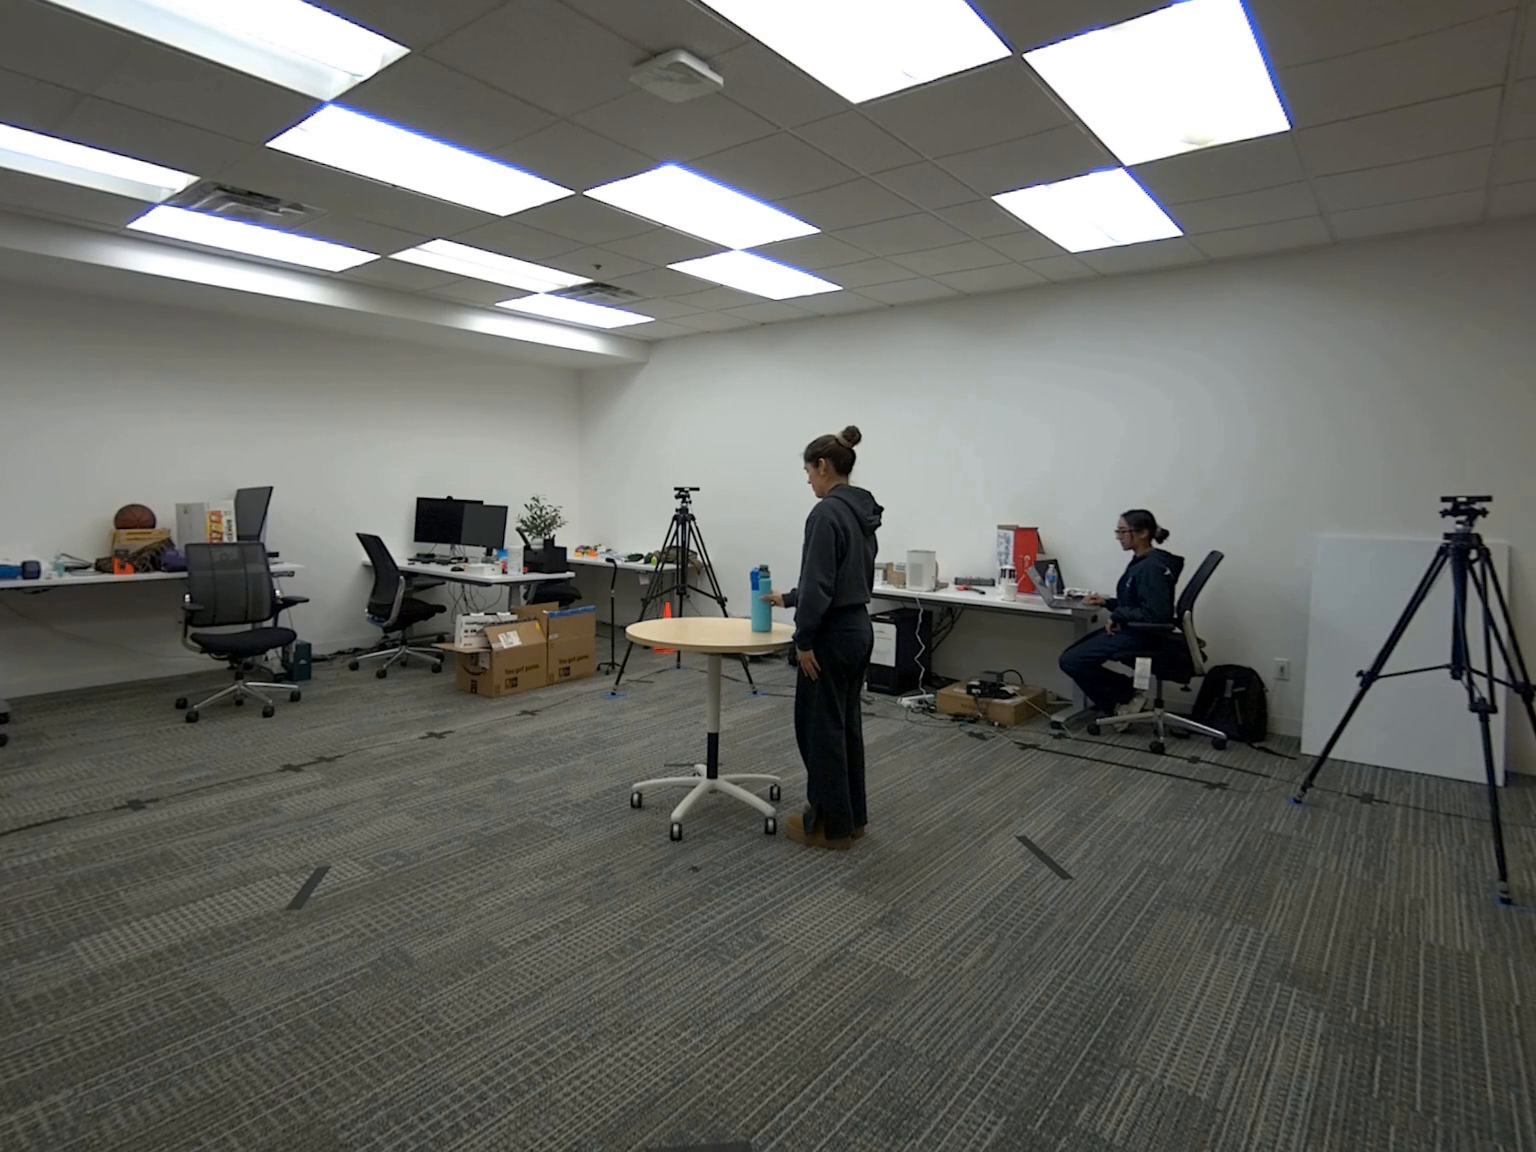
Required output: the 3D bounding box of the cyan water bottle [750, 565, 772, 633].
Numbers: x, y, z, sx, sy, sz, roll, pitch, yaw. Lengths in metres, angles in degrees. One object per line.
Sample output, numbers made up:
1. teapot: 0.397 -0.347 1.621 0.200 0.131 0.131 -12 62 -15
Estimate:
1. cyan water bottle: -0.023 0.090 3.672 0.092 0.283 0.092 -2 1 -2
